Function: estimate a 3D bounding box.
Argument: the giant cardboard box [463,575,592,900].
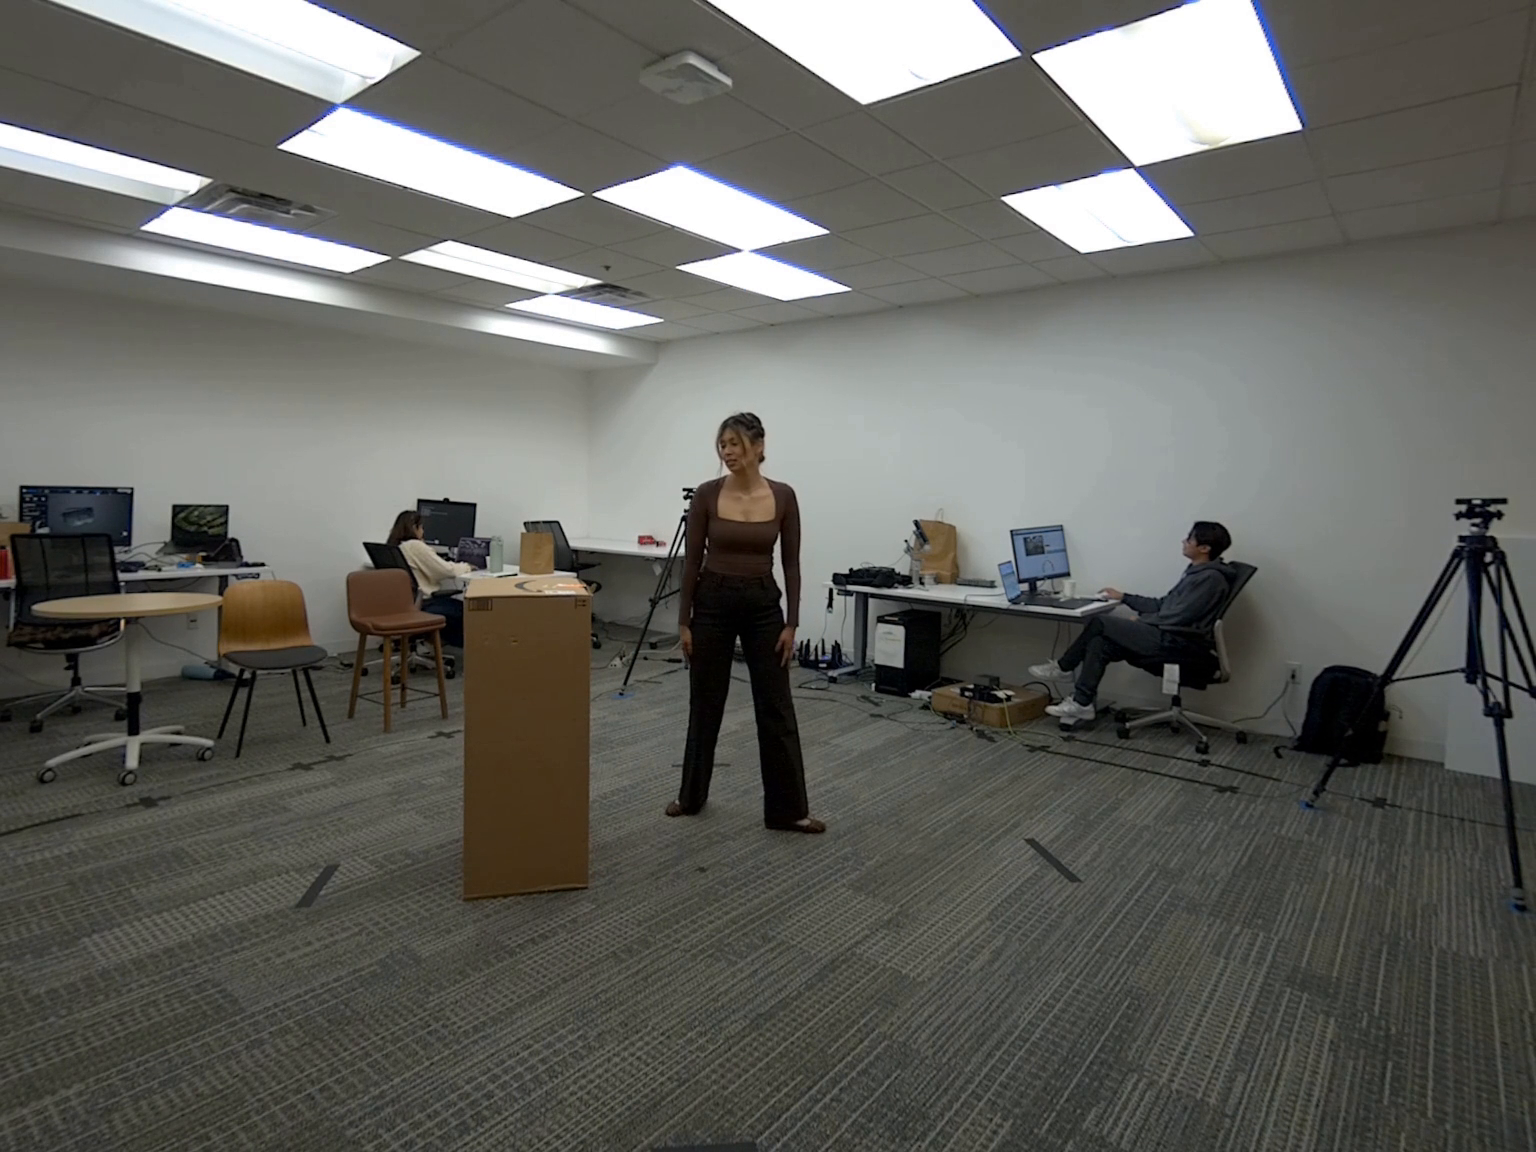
[{"bbox_3d":[-0.909,0.539,3.146,0.440,1.024,0.595,0,3,-15],"label":"giant cardboard box"}]
